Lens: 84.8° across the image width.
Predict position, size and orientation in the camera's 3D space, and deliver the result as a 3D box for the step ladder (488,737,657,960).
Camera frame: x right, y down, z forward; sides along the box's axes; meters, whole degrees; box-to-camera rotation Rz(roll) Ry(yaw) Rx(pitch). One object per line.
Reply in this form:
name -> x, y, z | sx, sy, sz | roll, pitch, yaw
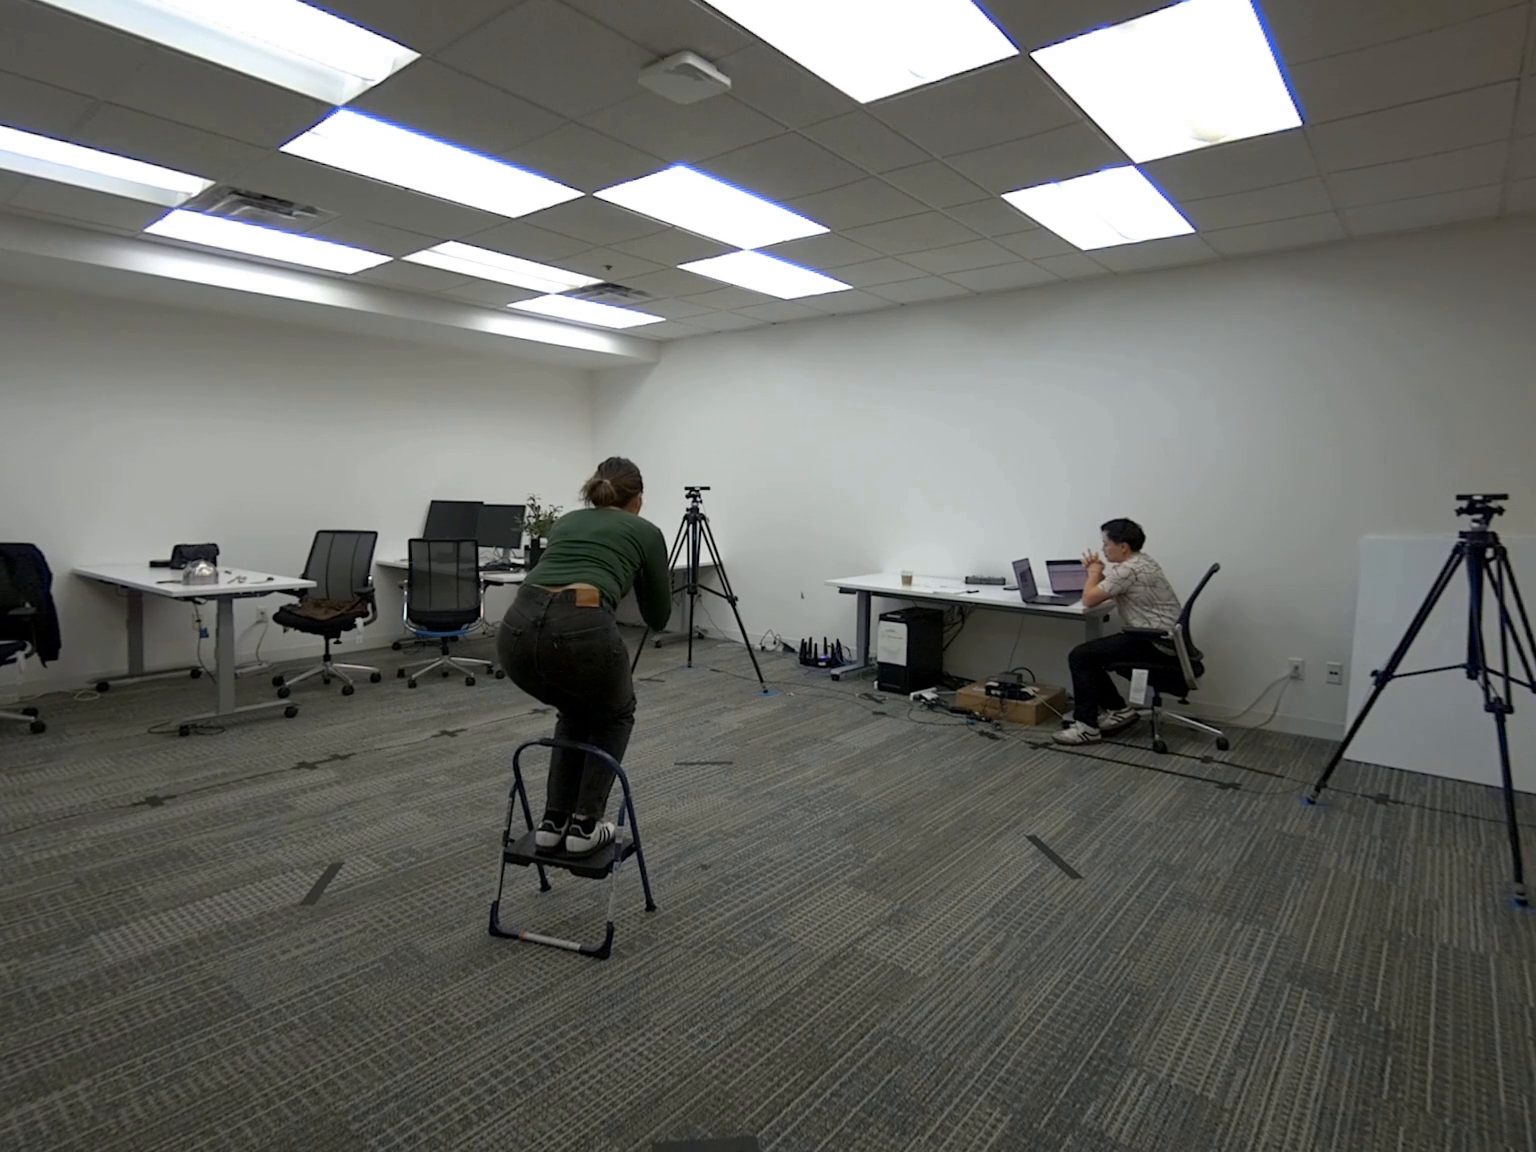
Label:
step ladder -> -0.629, 0.800, 2.699 | 0.439, 0.604, 0.343 | 2, 4, 18
